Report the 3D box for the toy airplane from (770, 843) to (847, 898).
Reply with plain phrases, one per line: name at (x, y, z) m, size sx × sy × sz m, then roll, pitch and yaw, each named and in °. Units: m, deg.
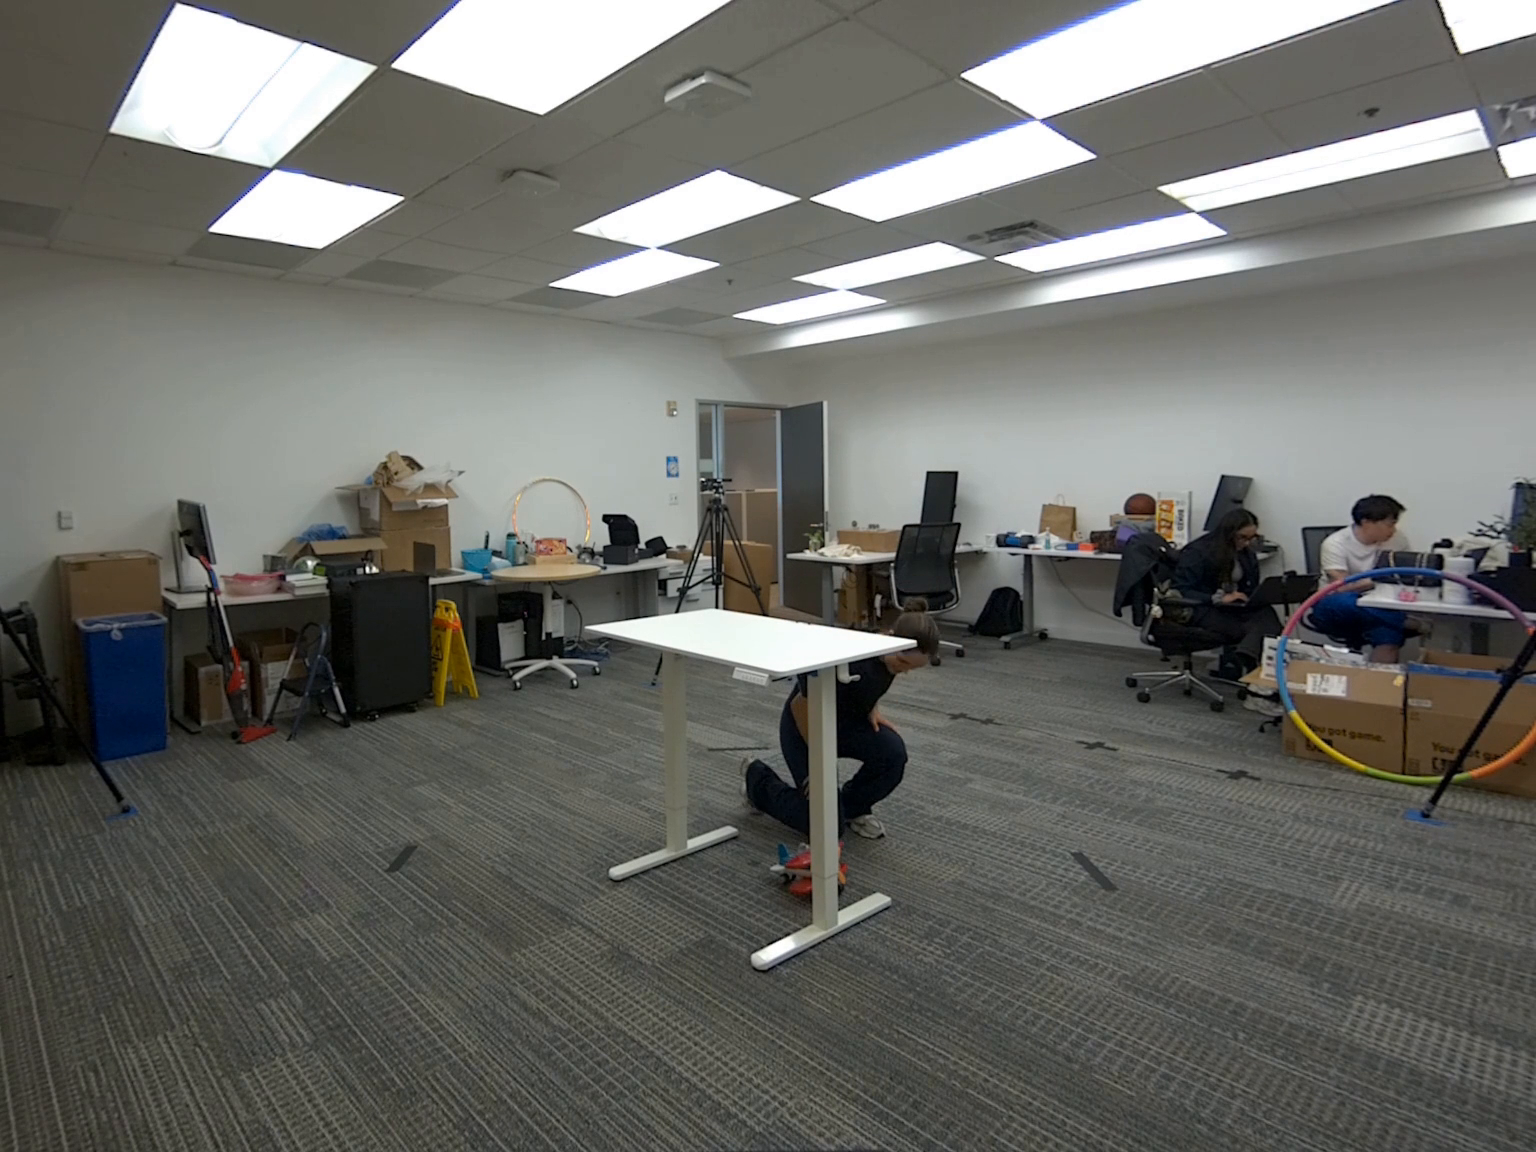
toy airplane at (0.129, 0.999, 2.890) m, size 0.263 × 0.155 × 0.248 m, roll 2°, pitch 7°, yaw 15°
